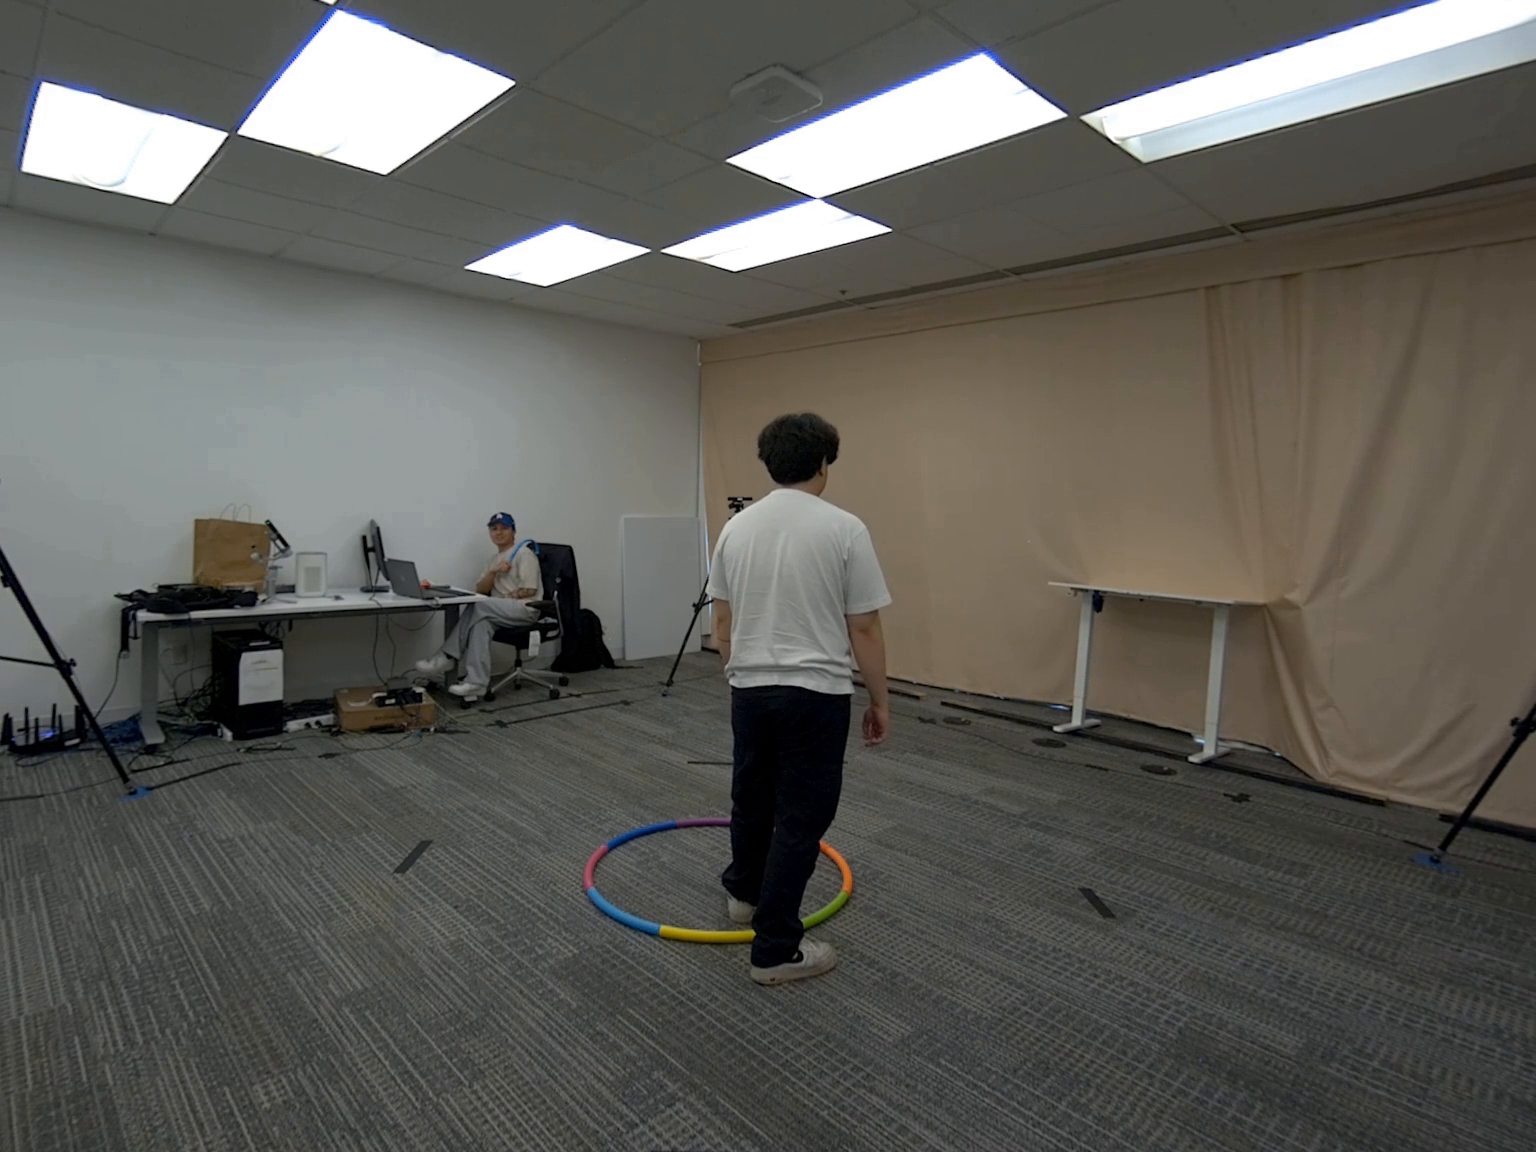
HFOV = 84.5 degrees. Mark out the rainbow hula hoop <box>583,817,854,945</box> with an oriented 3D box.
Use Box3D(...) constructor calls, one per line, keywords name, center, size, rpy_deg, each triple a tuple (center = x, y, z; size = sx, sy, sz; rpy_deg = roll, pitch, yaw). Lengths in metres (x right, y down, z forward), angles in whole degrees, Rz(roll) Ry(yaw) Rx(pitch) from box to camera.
Box3D(name="rainbow hula hoop", center=(-0.191, 1.084, 3.109), size=(0.985, 0.051, 0.989), rpy_deg=(2, 5, -1))
